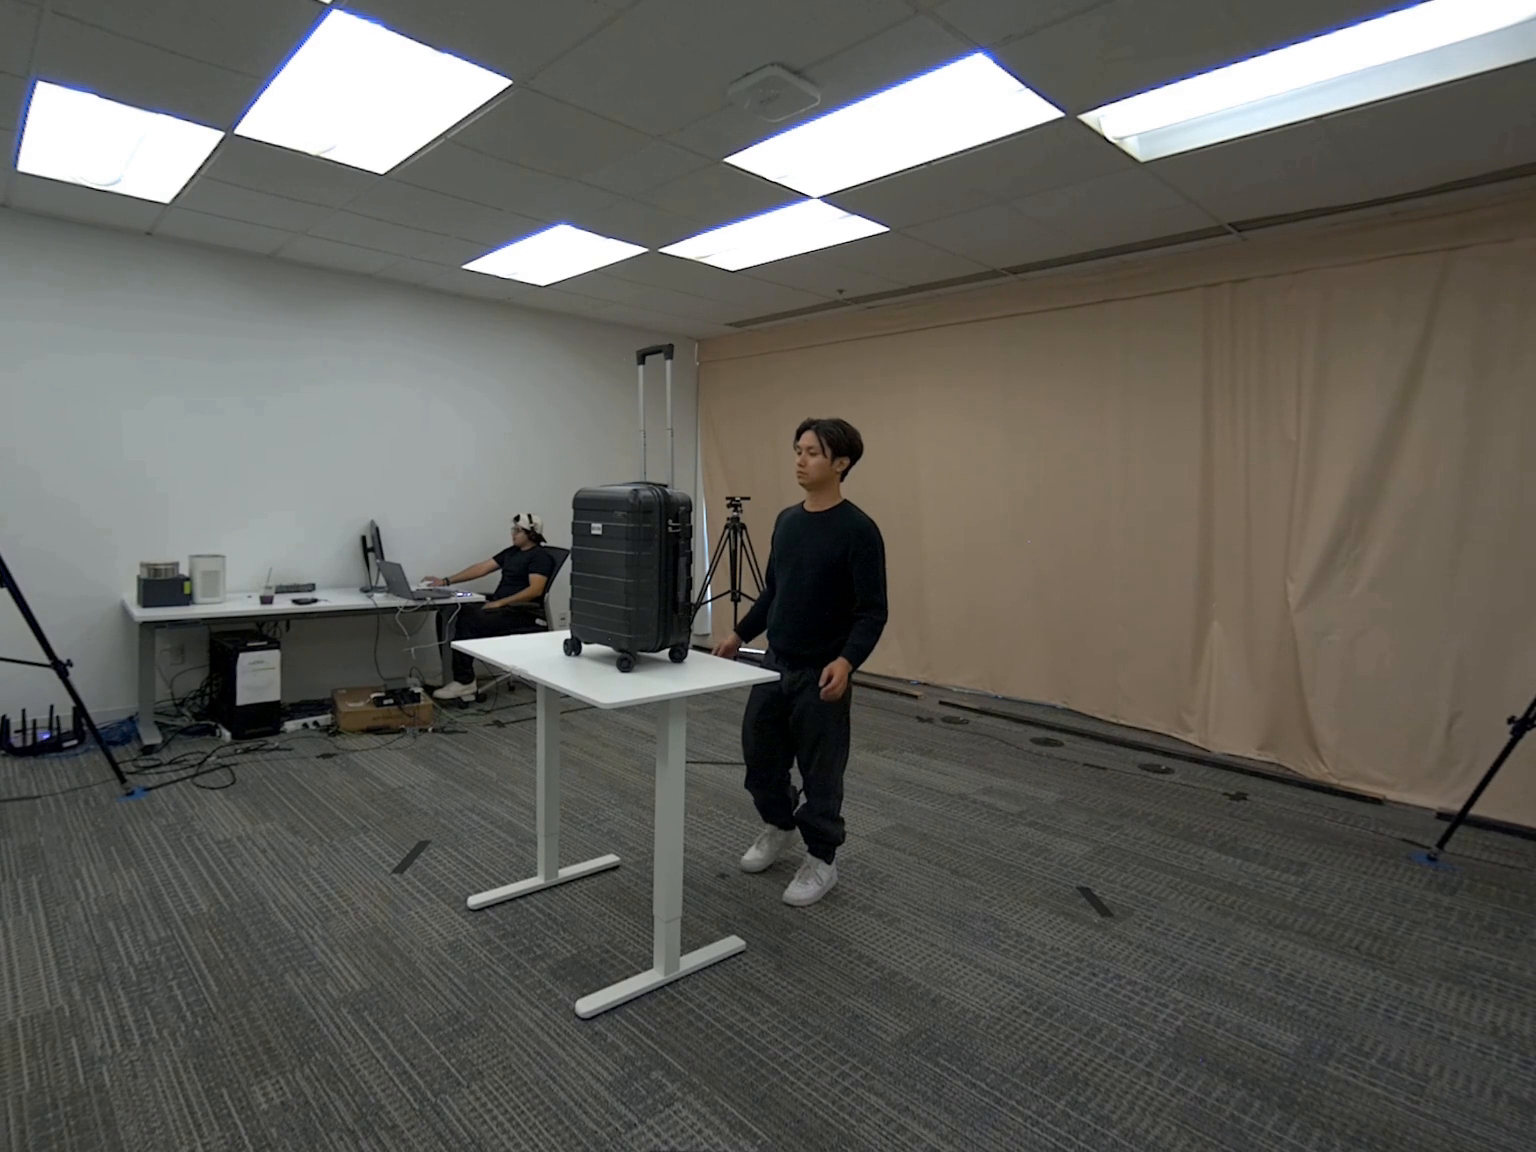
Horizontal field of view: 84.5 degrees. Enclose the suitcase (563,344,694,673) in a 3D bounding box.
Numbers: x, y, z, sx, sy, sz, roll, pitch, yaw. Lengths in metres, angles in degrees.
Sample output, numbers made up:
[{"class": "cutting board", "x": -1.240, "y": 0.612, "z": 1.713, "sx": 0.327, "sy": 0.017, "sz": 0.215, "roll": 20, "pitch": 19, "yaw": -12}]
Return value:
[{"class": "suitcase", "x": -0.430, "y": -0.217, "z": 2.586, "sx": 0.251, "sy": 0.975, "sz": 0.394, "roll": -4, "pitch": 6, "yaw": -45}]
